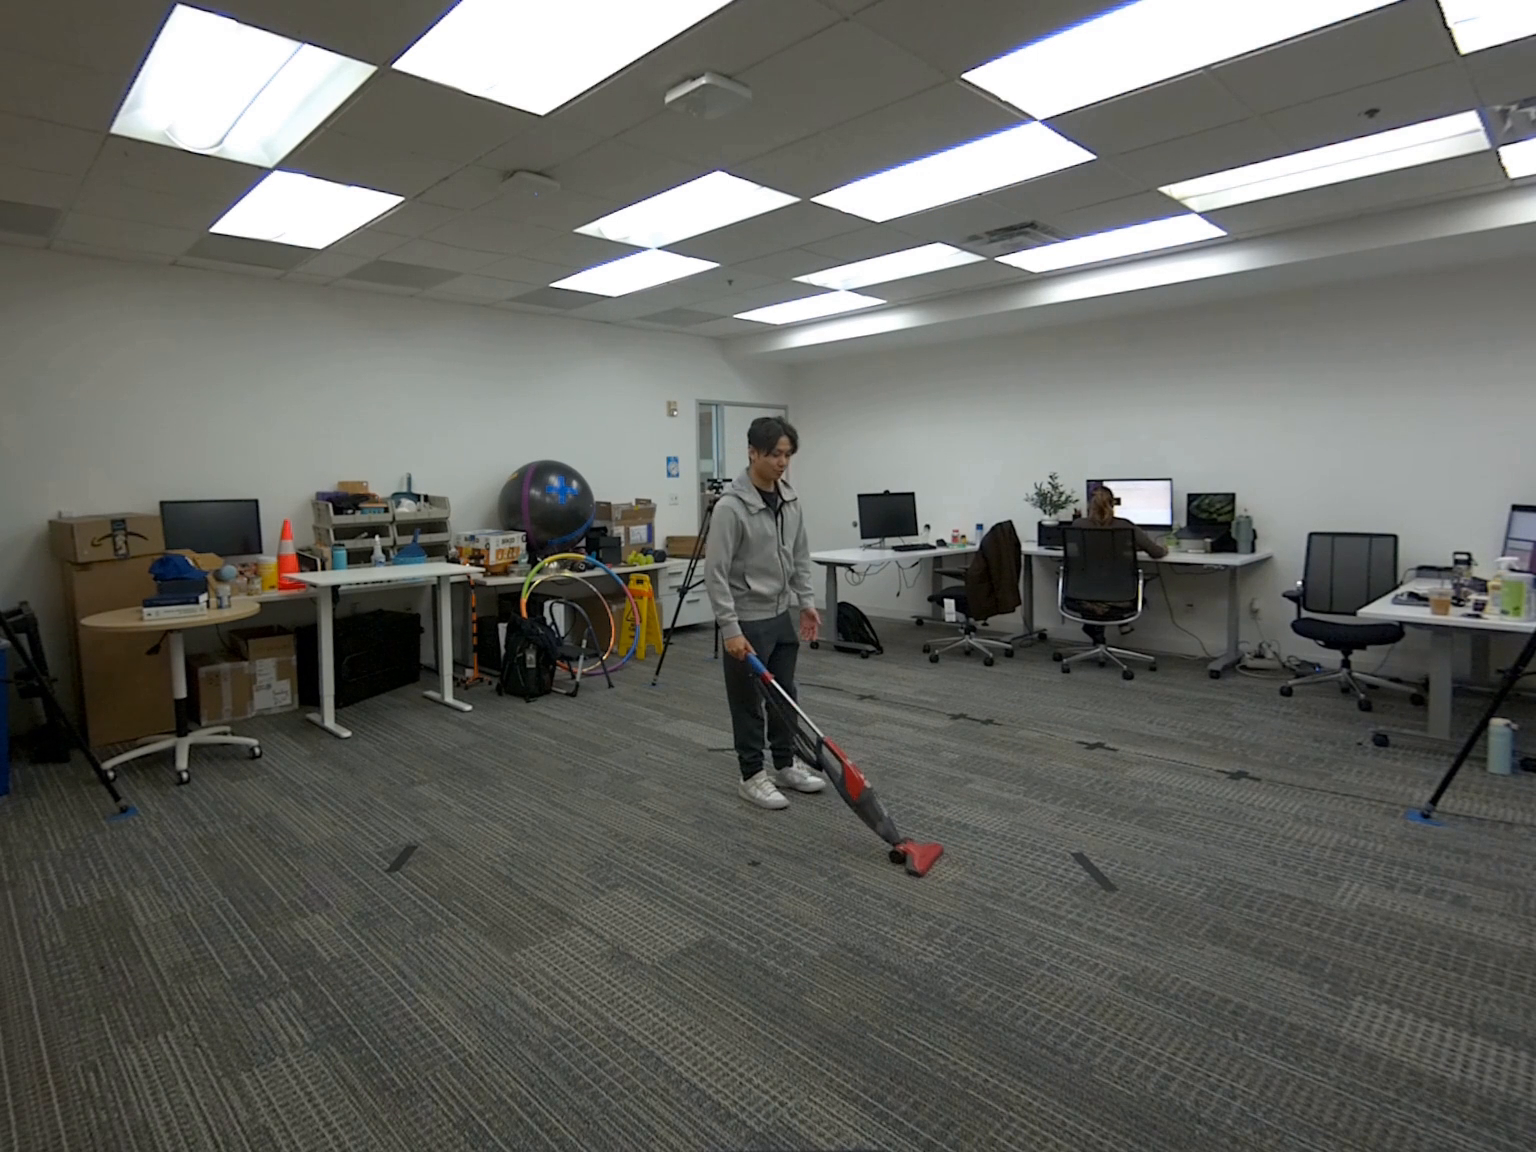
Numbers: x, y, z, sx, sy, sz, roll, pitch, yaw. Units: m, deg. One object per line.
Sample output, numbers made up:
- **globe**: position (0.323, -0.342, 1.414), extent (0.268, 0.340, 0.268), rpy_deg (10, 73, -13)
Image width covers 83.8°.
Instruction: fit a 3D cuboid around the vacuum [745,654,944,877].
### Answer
- **vacuum**: position (0.215, 0.661, 3.291), extent (1.077, 0.144, 0.246), rpy_deg (48, 23, 20)
